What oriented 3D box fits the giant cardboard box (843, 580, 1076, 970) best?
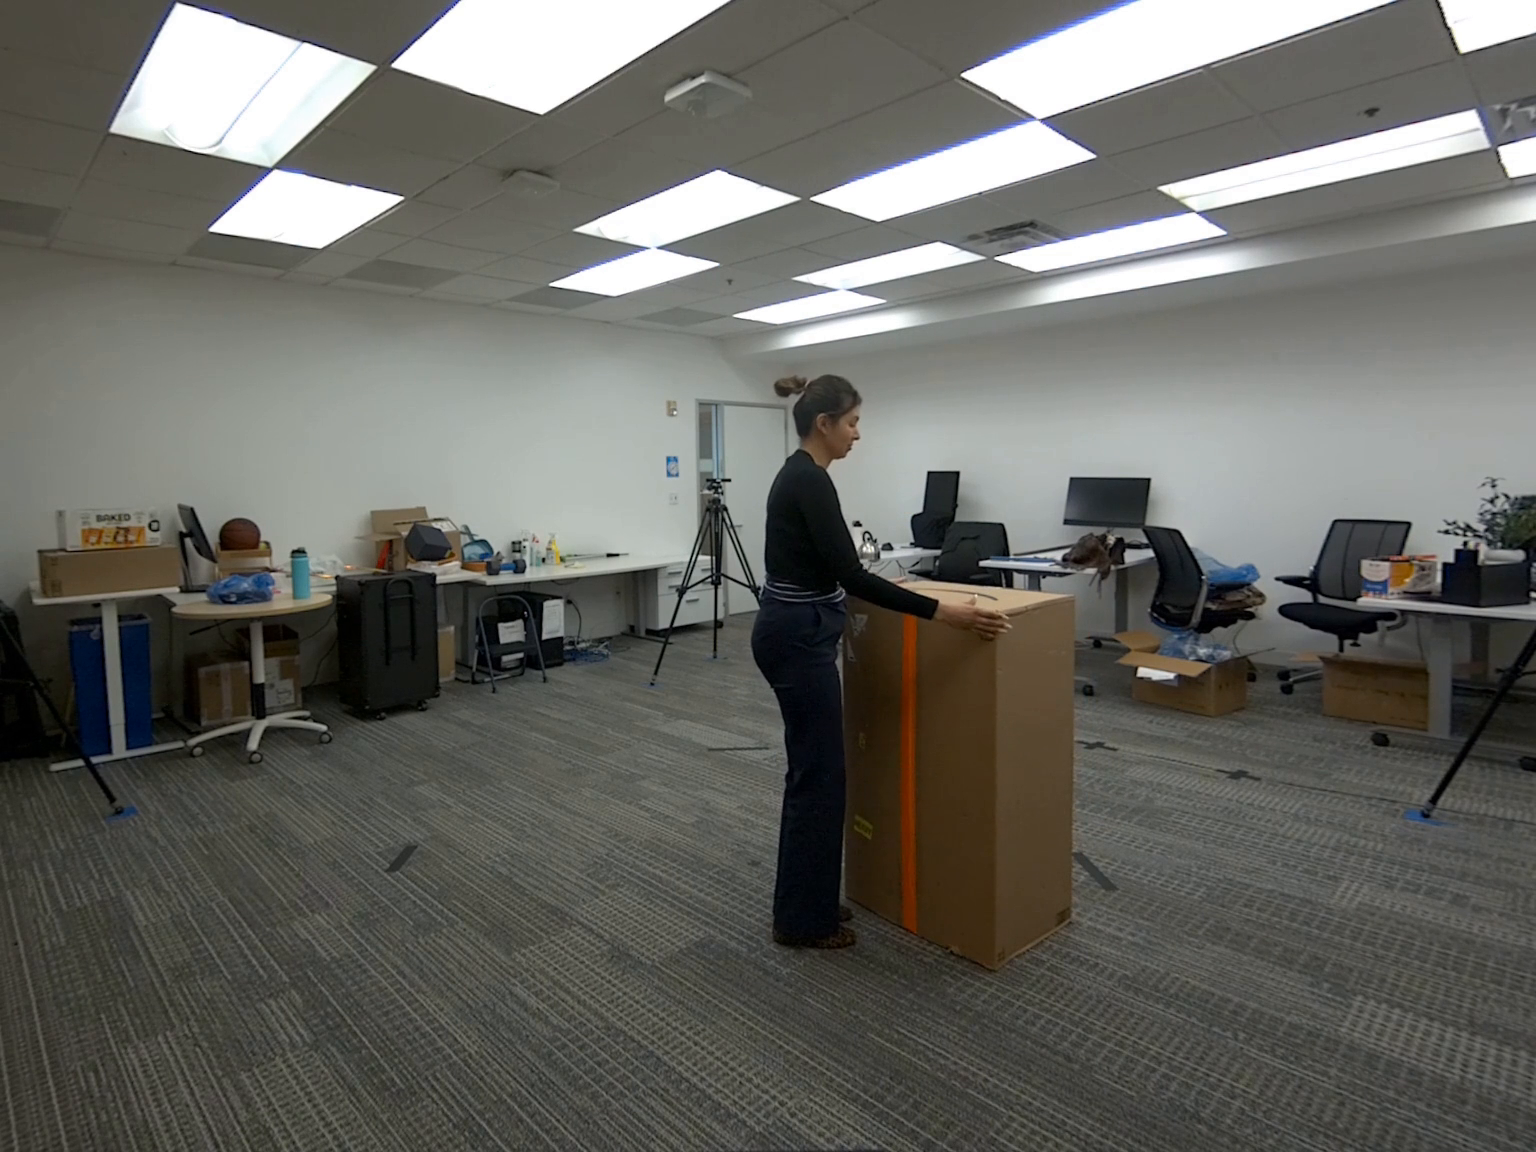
[{"bbox_3d":[0.597,0.568,2.716,0.415,1.022,0.595,-4,5,-40],"label":"giant cardboard box"}]
